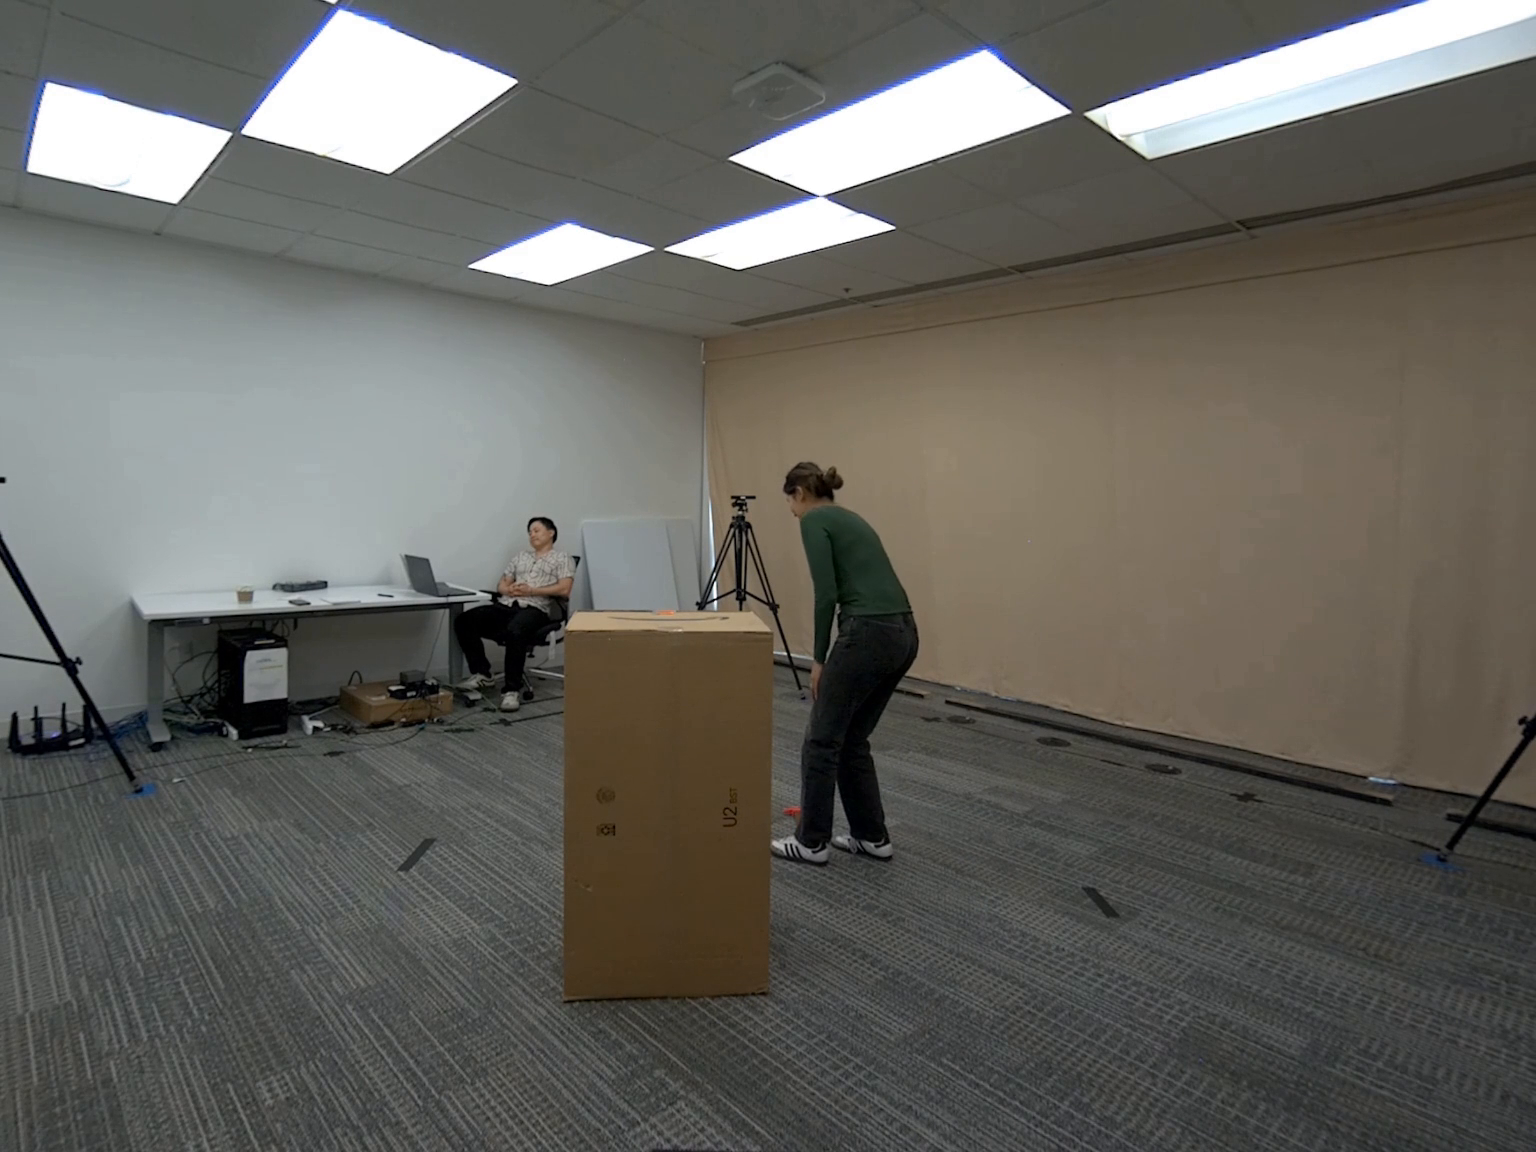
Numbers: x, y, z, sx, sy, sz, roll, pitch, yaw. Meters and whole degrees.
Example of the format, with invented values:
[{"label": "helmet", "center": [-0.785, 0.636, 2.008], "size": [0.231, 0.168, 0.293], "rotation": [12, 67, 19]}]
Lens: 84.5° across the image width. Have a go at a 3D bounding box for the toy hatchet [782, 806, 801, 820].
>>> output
[{"label": "toy hatchet", "center": [0.163, 1.057, 3.617], "size": [0.129, 0.029, 0.275], "rotation": [1, 6, -22]}]
